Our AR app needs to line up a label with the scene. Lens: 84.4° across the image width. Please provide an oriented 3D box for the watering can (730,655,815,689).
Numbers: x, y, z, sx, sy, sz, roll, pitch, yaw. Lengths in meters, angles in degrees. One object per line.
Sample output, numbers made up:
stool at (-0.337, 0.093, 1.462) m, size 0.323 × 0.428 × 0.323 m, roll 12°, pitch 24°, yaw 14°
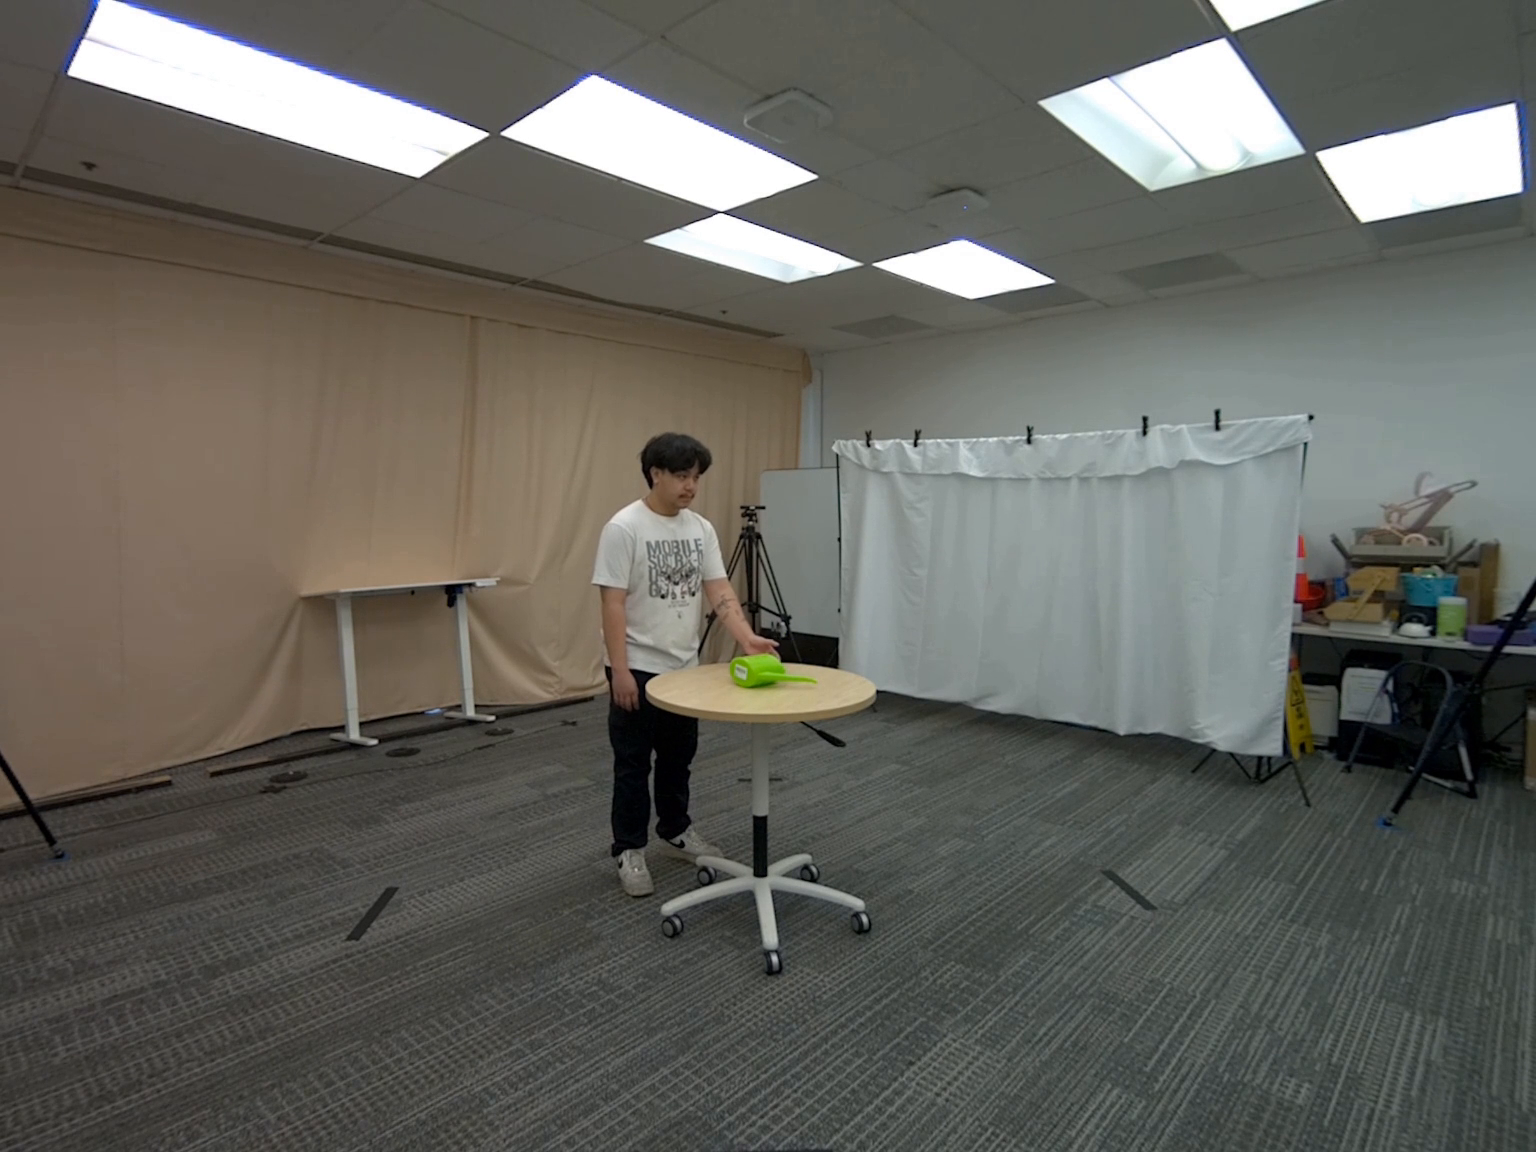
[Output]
watering can at (0.010, 0.314, 2.801) m, size 0.171 × 0.098 × 0.287 m, roll -5°, pitch 2°, yaw -42°
